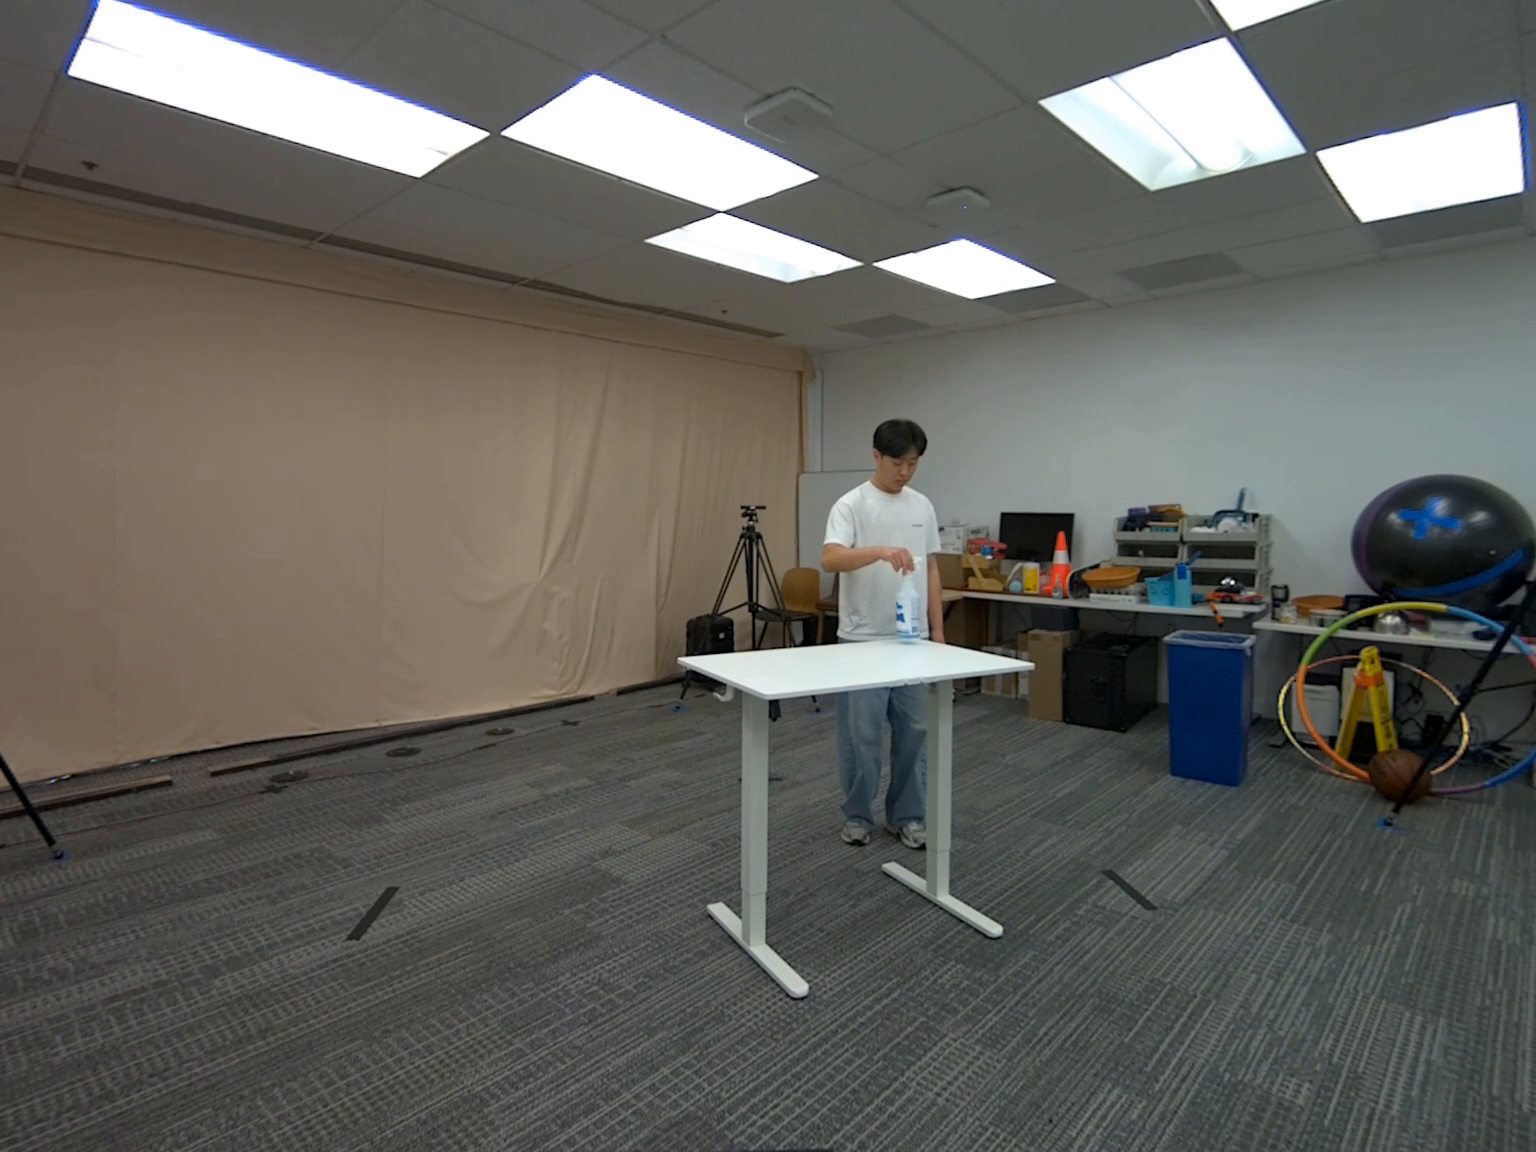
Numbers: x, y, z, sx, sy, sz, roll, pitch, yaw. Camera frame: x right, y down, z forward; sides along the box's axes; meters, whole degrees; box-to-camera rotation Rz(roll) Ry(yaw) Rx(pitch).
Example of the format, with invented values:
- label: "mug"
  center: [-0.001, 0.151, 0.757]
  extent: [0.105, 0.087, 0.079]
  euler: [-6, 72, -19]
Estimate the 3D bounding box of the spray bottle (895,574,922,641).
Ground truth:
- label: "spray bottle"
  center: [0.523, 0.078, 3.110]
  extent: [0.093, 0.297, 0.084]
  euler: [3, 2, 36]
